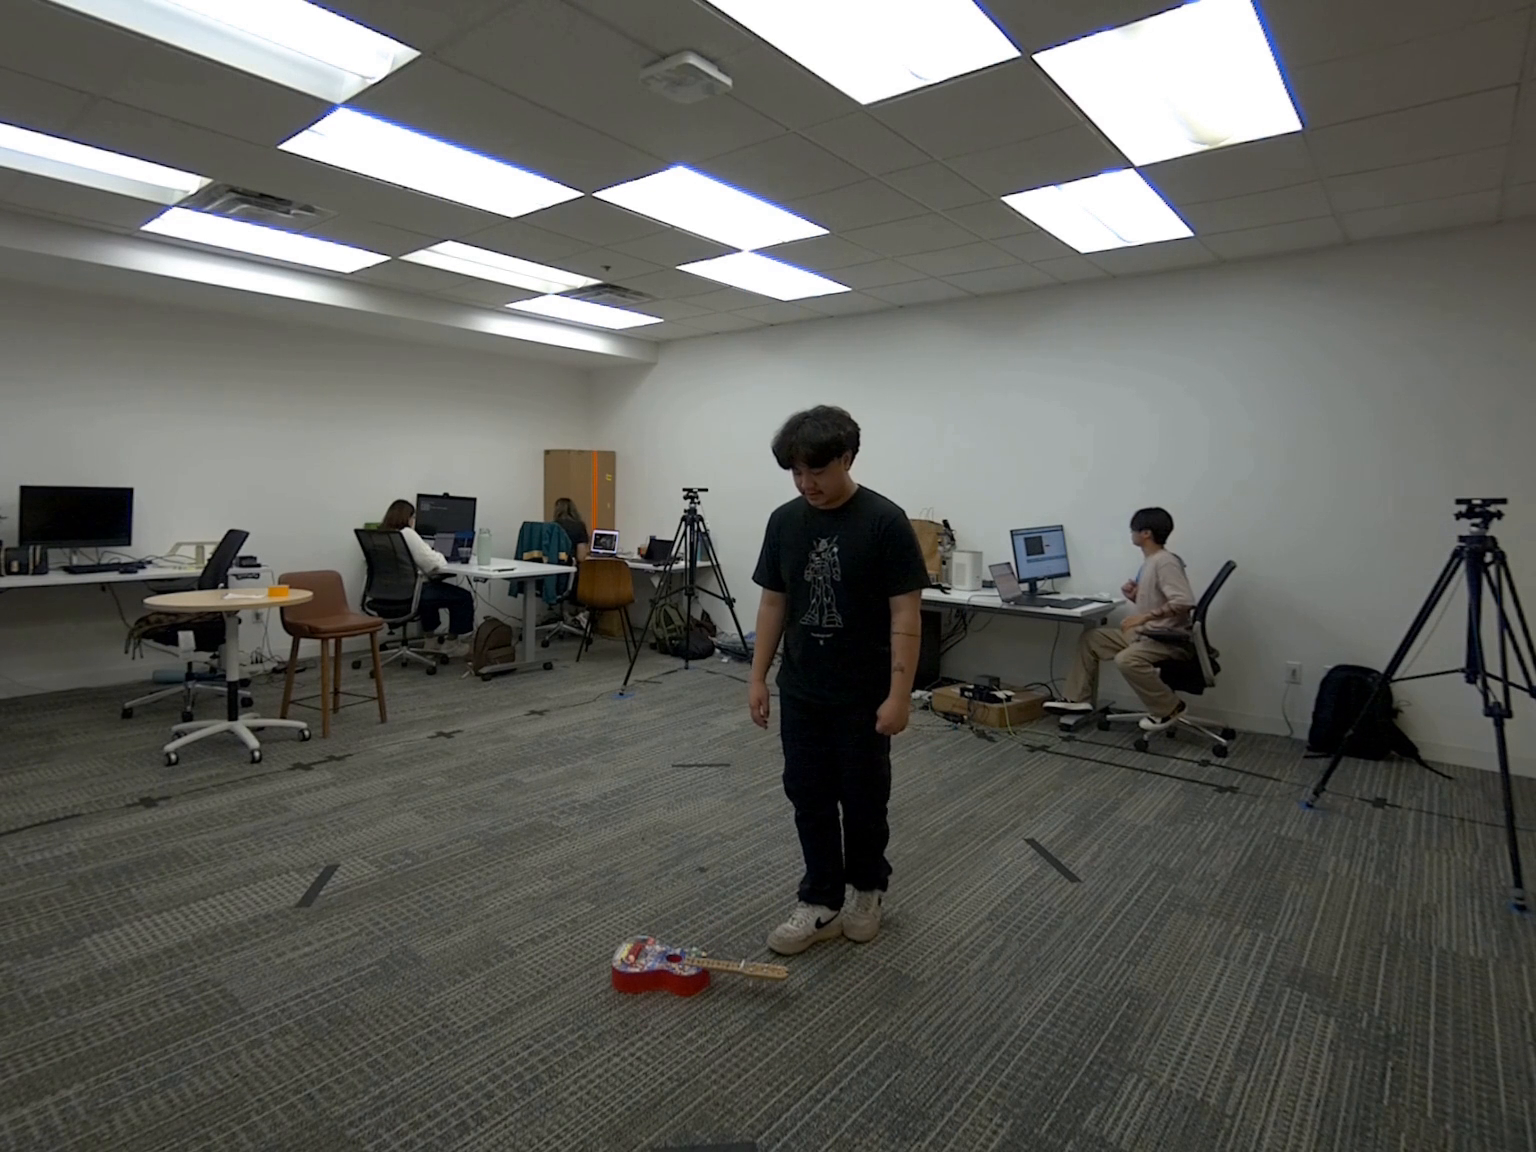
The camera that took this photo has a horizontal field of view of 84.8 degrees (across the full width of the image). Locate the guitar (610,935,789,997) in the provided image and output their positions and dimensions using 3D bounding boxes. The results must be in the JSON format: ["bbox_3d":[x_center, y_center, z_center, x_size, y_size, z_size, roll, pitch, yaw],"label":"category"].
[{"bbox_3d":[-0.207,1.110,2.363,0.508,0.070,0.190,2,5,19],"label":"guitar"}]
